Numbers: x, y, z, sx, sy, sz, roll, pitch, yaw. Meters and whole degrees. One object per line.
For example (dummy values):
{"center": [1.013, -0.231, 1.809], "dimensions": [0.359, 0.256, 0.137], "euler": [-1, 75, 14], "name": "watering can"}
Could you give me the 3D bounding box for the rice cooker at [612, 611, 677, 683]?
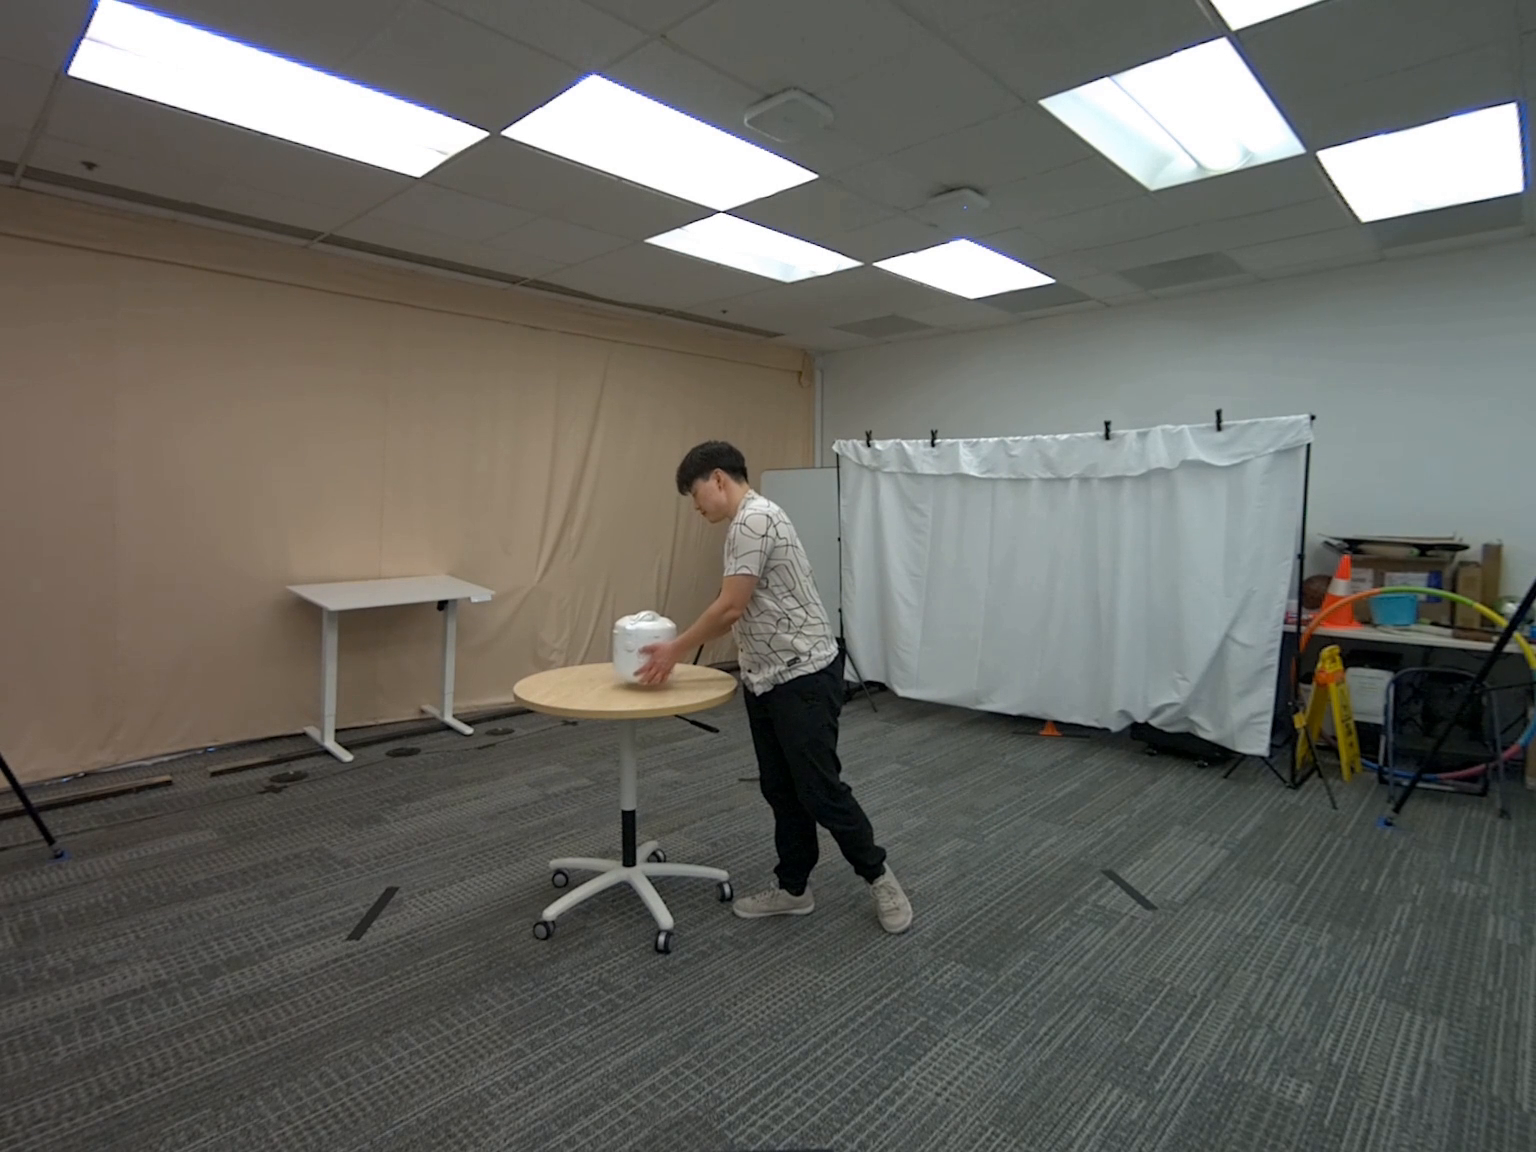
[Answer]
{"center": [-0.413, 0.235, 2.847], "dimensions": [0.223, 0.232, 0.215], "euler": [4, 3, 23], "name": "rice cooker"}
